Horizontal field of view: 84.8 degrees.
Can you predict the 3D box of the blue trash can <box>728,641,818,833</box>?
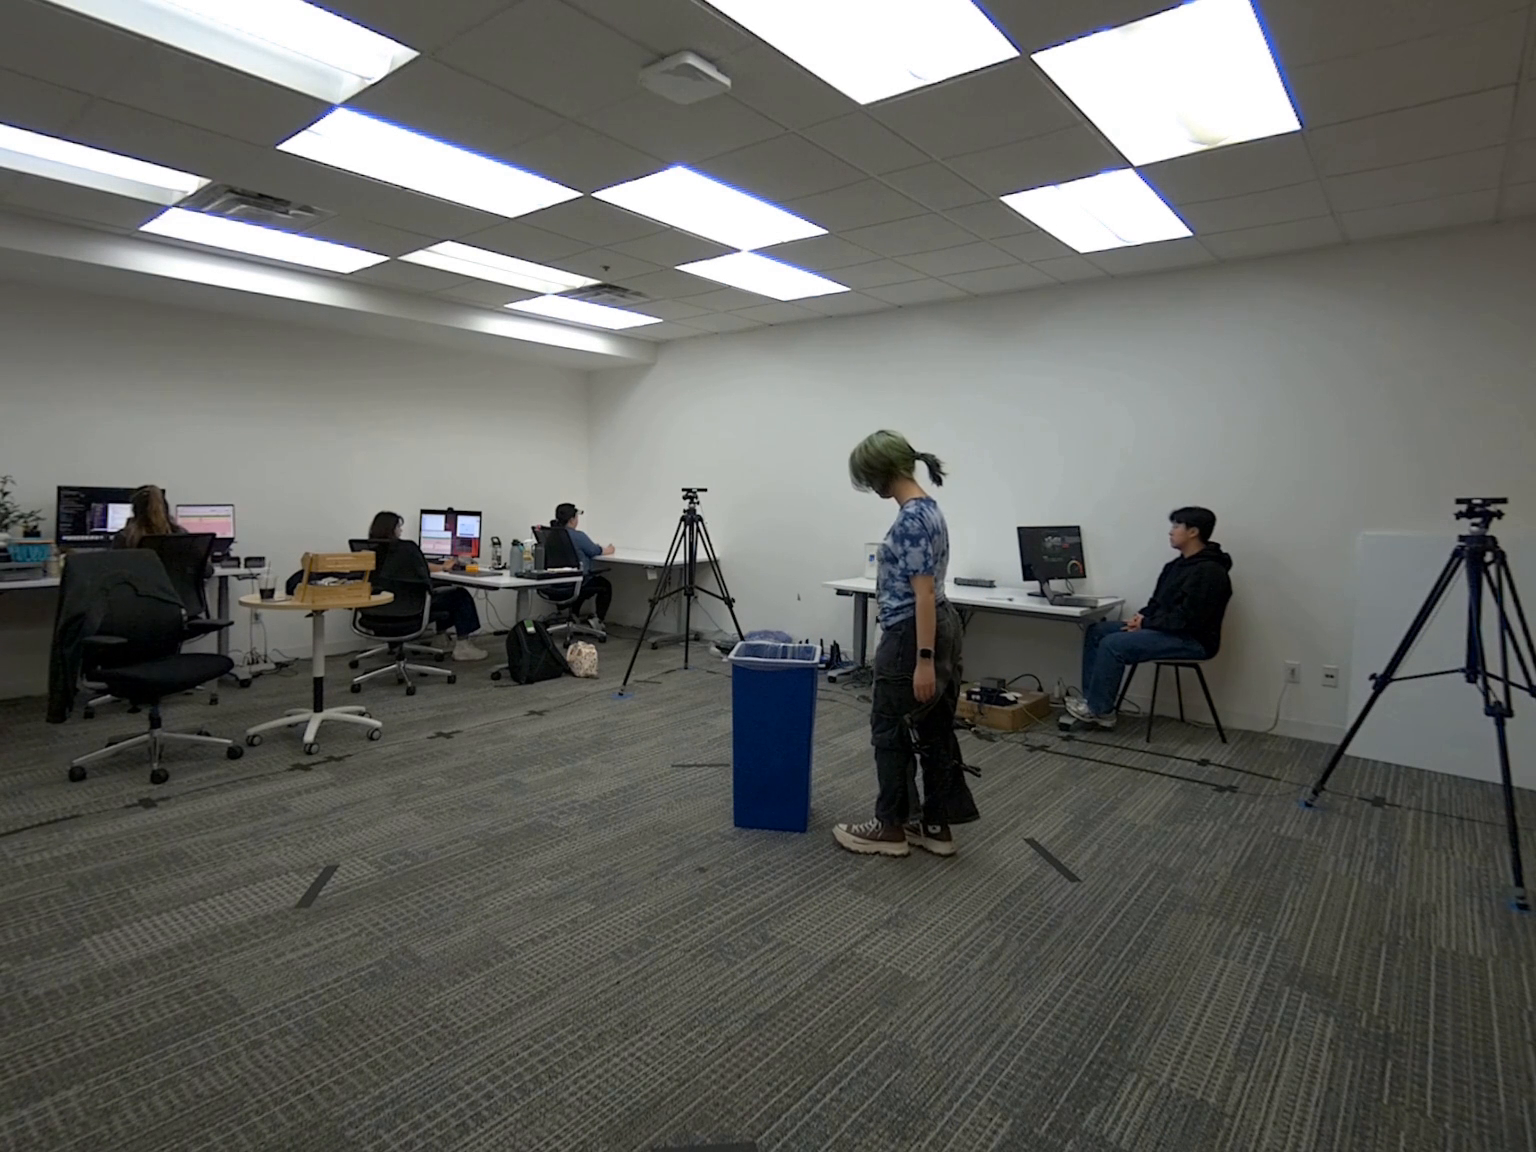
[{"bbox_3d":[0.021,0.669,3.607,0.381,0.711,0.372,1,3,7],"label":"blue trash can"}]
